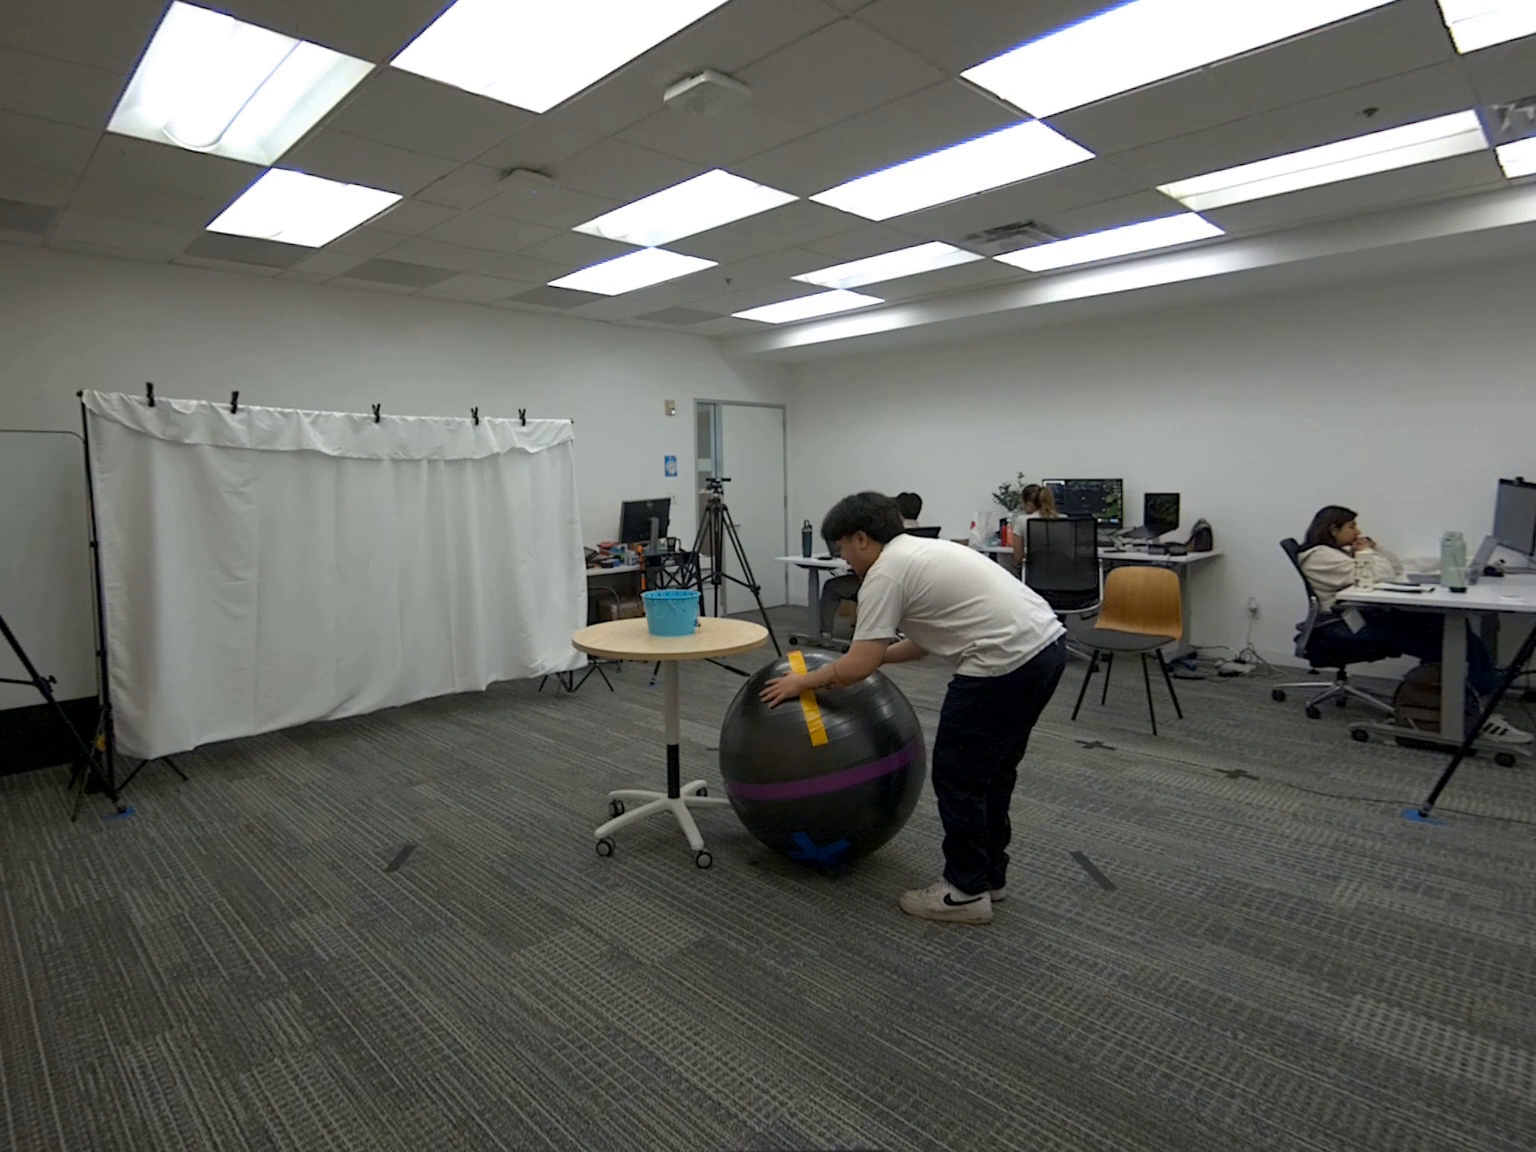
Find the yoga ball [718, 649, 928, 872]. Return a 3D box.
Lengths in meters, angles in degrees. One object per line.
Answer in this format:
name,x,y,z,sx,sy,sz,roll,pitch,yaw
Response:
yoga ball,0.204,0.666,3.154,0.757,0.755,0.762,-1,5,-2
